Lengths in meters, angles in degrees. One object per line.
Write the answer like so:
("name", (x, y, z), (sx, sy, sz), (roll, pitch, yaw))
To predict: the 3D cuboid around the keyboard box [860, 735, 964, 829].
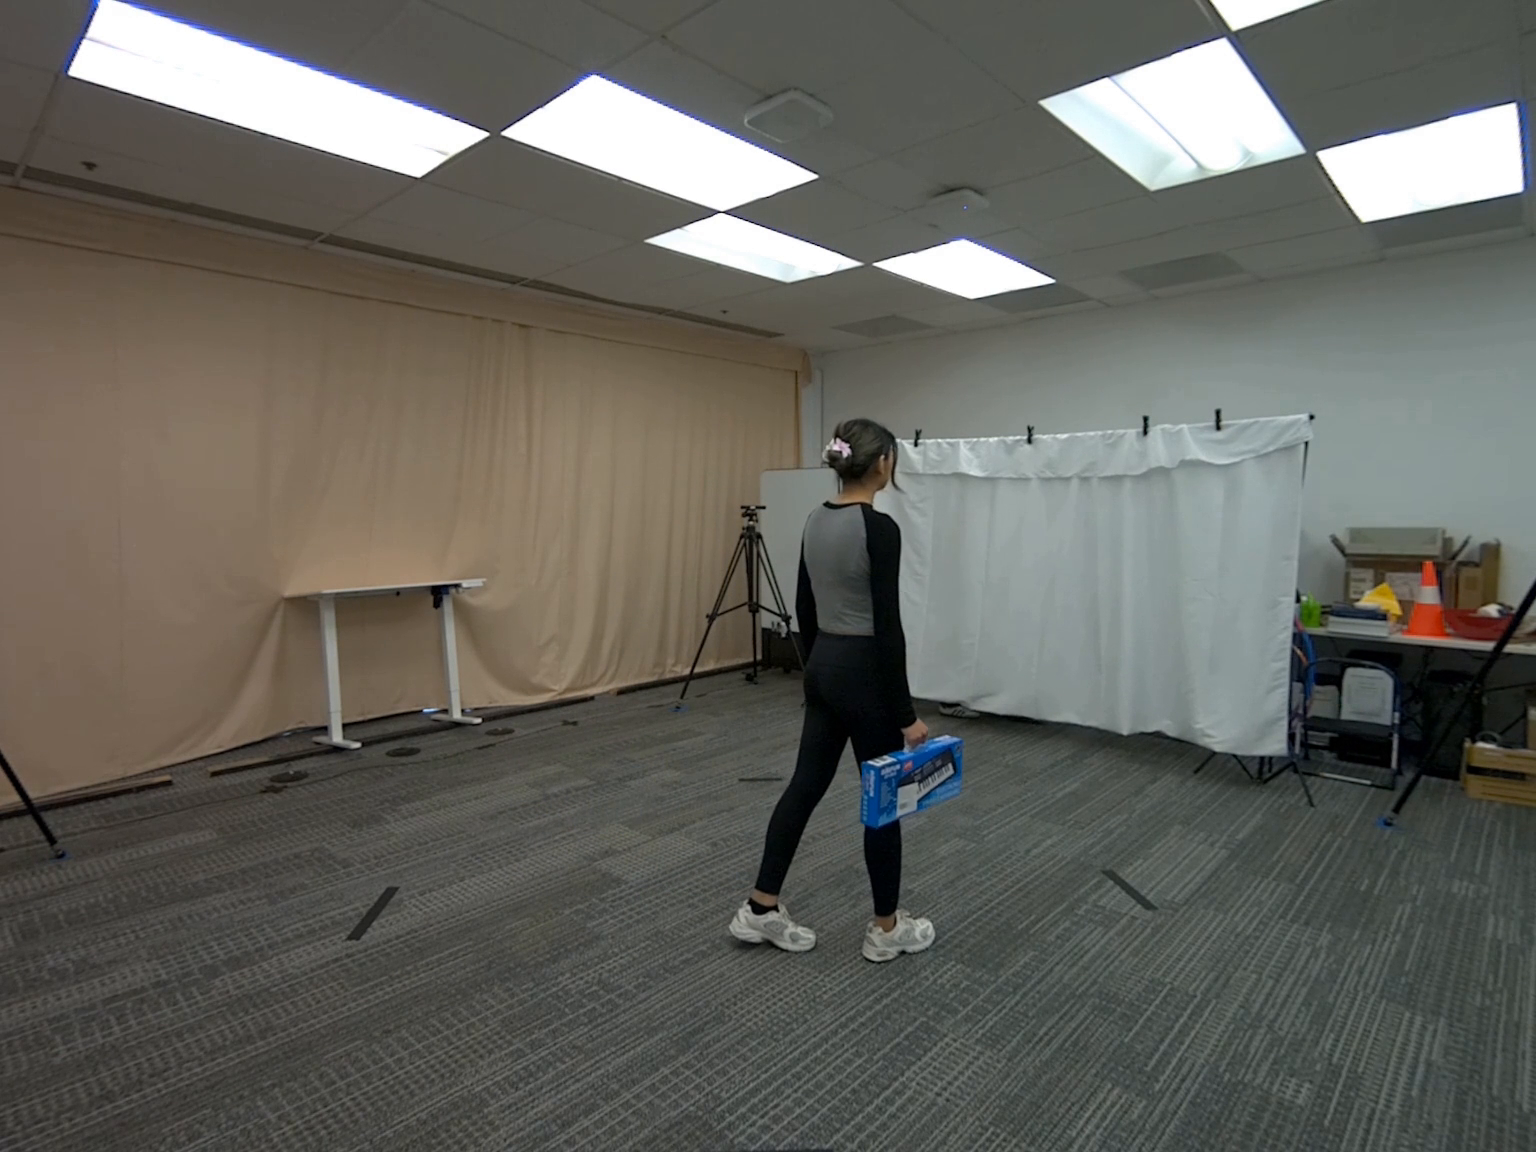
("keyboard box", (0.430, 0.598, 2.466), (0.423, 0.175, 0.061), (-3, 5, -44))
